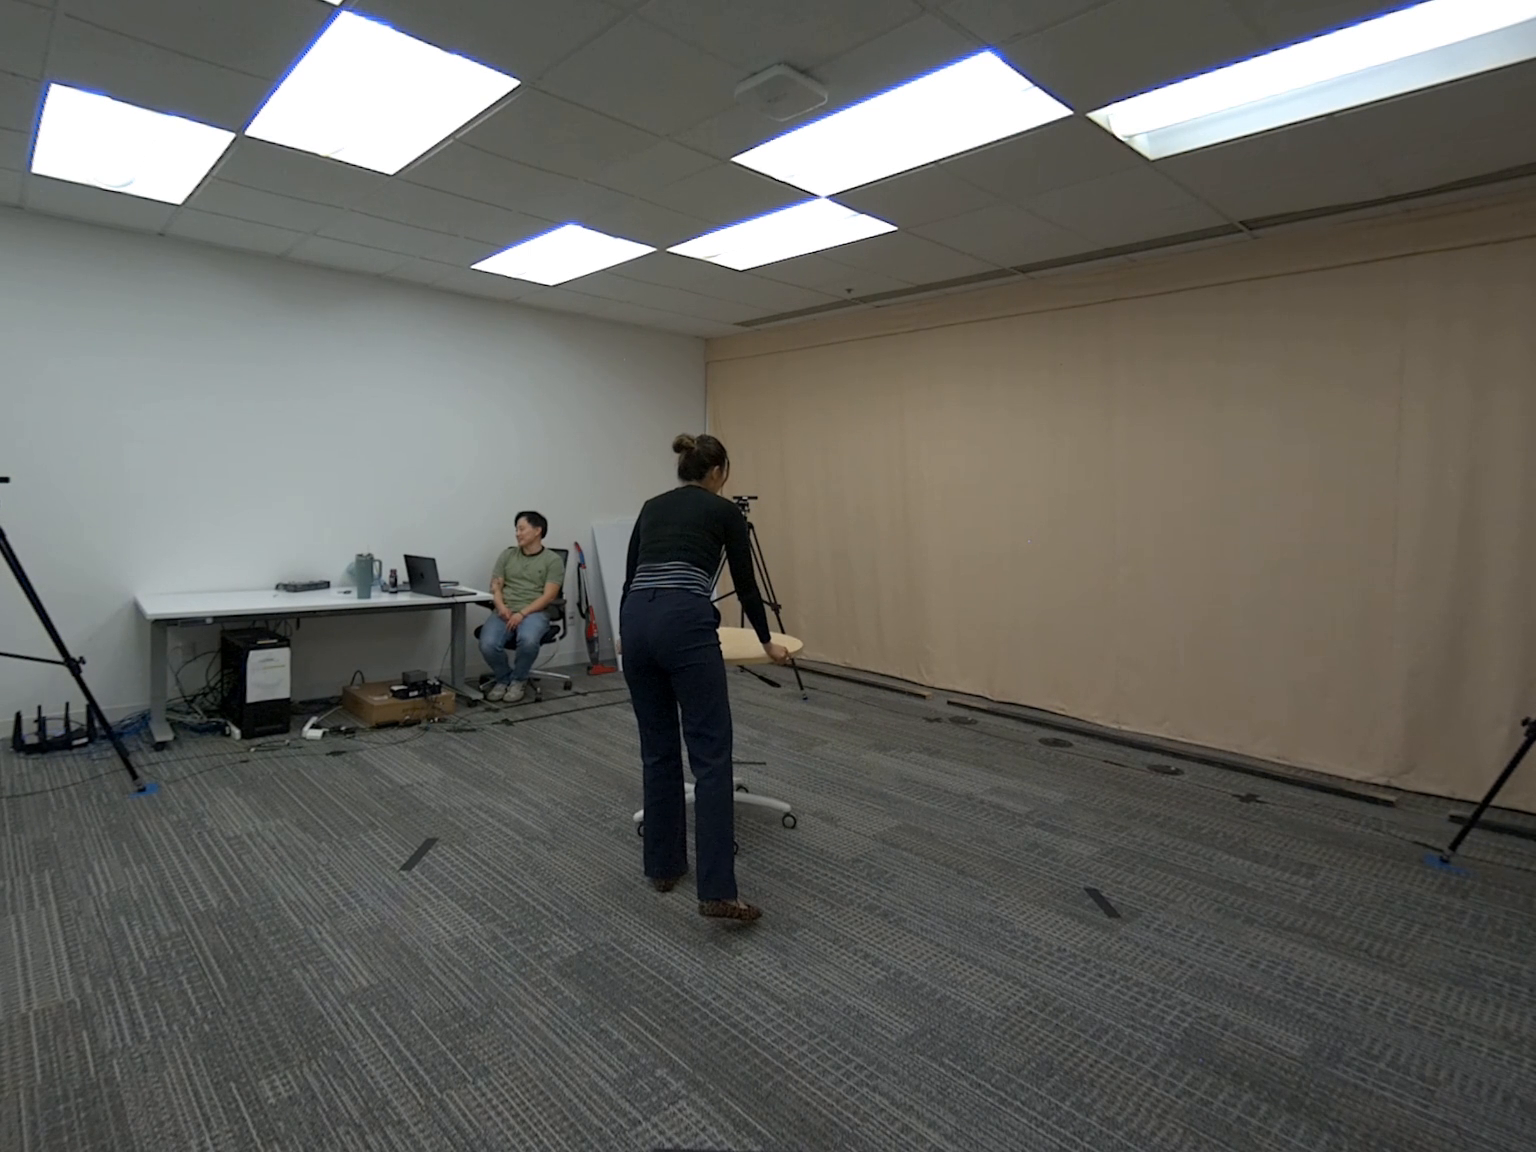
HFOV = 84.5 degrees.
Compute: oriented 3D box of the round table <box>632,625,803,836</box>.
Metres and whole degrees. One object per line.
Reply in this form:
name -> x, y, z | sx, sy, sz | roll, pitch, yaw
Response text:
round table -> -0.243, 0.671, 3.592 | 0.763, 0.792, 0.766 | 2, 3, -1
